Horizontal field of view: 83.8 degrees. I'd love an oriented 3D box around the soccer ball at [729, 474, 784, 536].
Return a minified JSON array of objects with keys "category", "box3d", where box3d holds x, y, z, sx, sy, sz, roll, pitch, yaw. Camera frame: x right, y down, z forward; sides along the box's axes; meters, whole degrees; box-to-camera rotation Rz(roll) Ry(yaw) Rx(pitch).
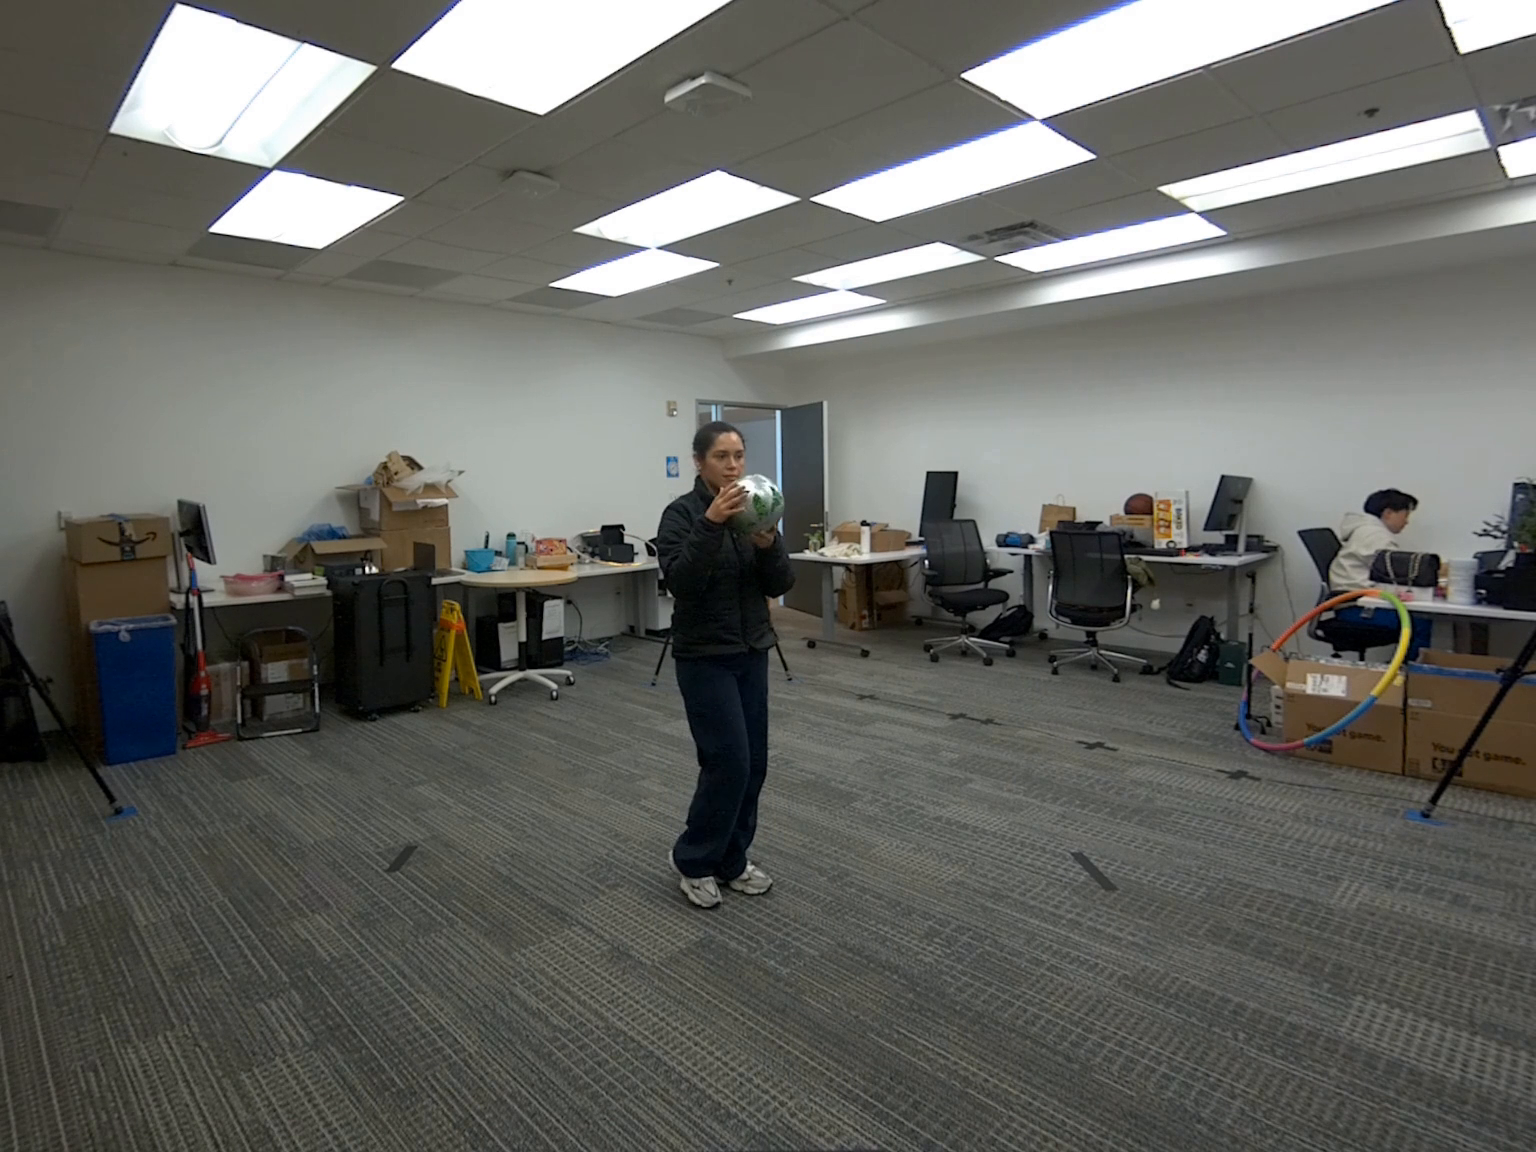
[{"category":"soccer ball","box3d":[-0.045,-0.218,2.607,0.187,0.187,0.188,-1,5,-2]}]
